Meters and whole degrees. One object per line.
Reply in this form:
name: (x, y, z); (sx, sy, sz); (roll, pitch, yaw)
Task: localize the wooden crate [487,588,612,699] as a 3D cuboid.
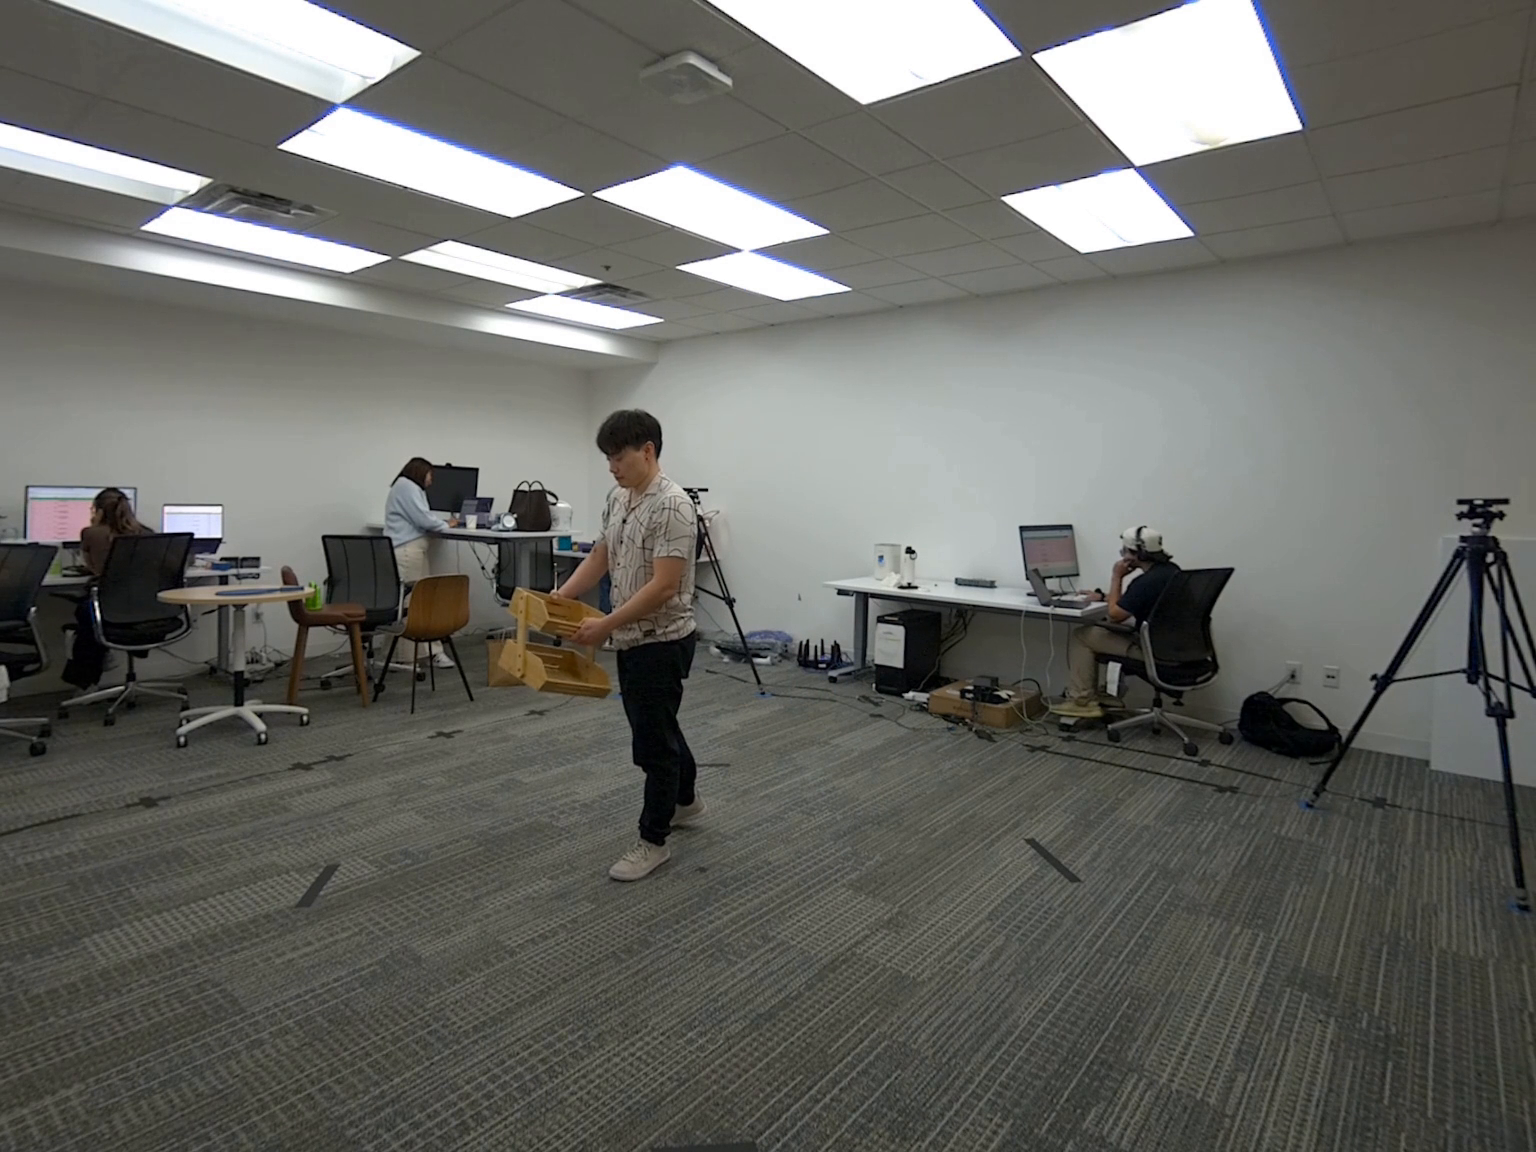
wooden crate: (-0.705, 0.225, 2.881); (0.314, 0.273, 0.312); (19, 0, 39)
